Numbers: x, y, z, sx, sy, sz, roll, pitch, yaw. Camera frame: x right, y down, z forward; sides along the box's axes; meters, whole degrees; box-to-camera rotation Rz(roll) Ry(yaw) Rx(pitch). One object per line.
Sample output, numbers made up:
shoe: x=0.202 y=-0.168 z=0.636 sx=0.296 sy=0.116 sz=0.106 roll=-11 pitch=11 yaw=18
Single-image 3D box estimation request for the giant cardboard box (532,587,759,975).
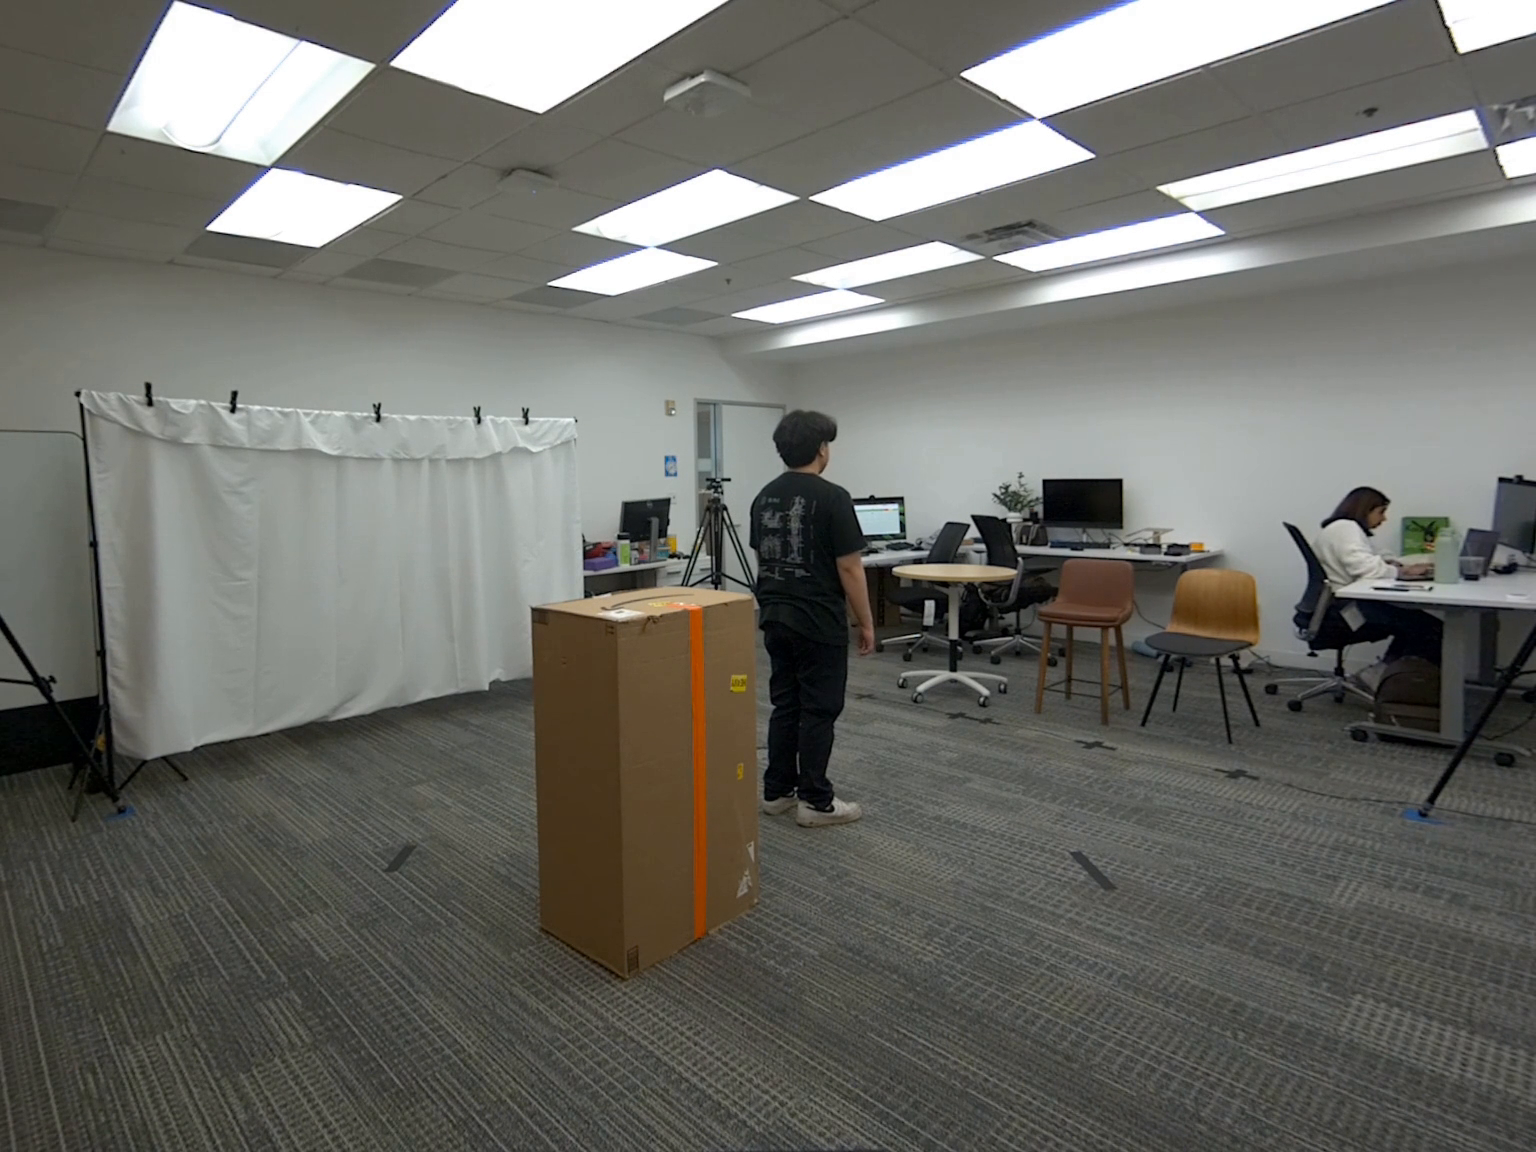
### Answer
giant cardboard box: x=-0.377 y=0.584 z=2.709 sx=0.461 sy=1.022 sz=0.569 roll=4 pitch=7 yaw=43
